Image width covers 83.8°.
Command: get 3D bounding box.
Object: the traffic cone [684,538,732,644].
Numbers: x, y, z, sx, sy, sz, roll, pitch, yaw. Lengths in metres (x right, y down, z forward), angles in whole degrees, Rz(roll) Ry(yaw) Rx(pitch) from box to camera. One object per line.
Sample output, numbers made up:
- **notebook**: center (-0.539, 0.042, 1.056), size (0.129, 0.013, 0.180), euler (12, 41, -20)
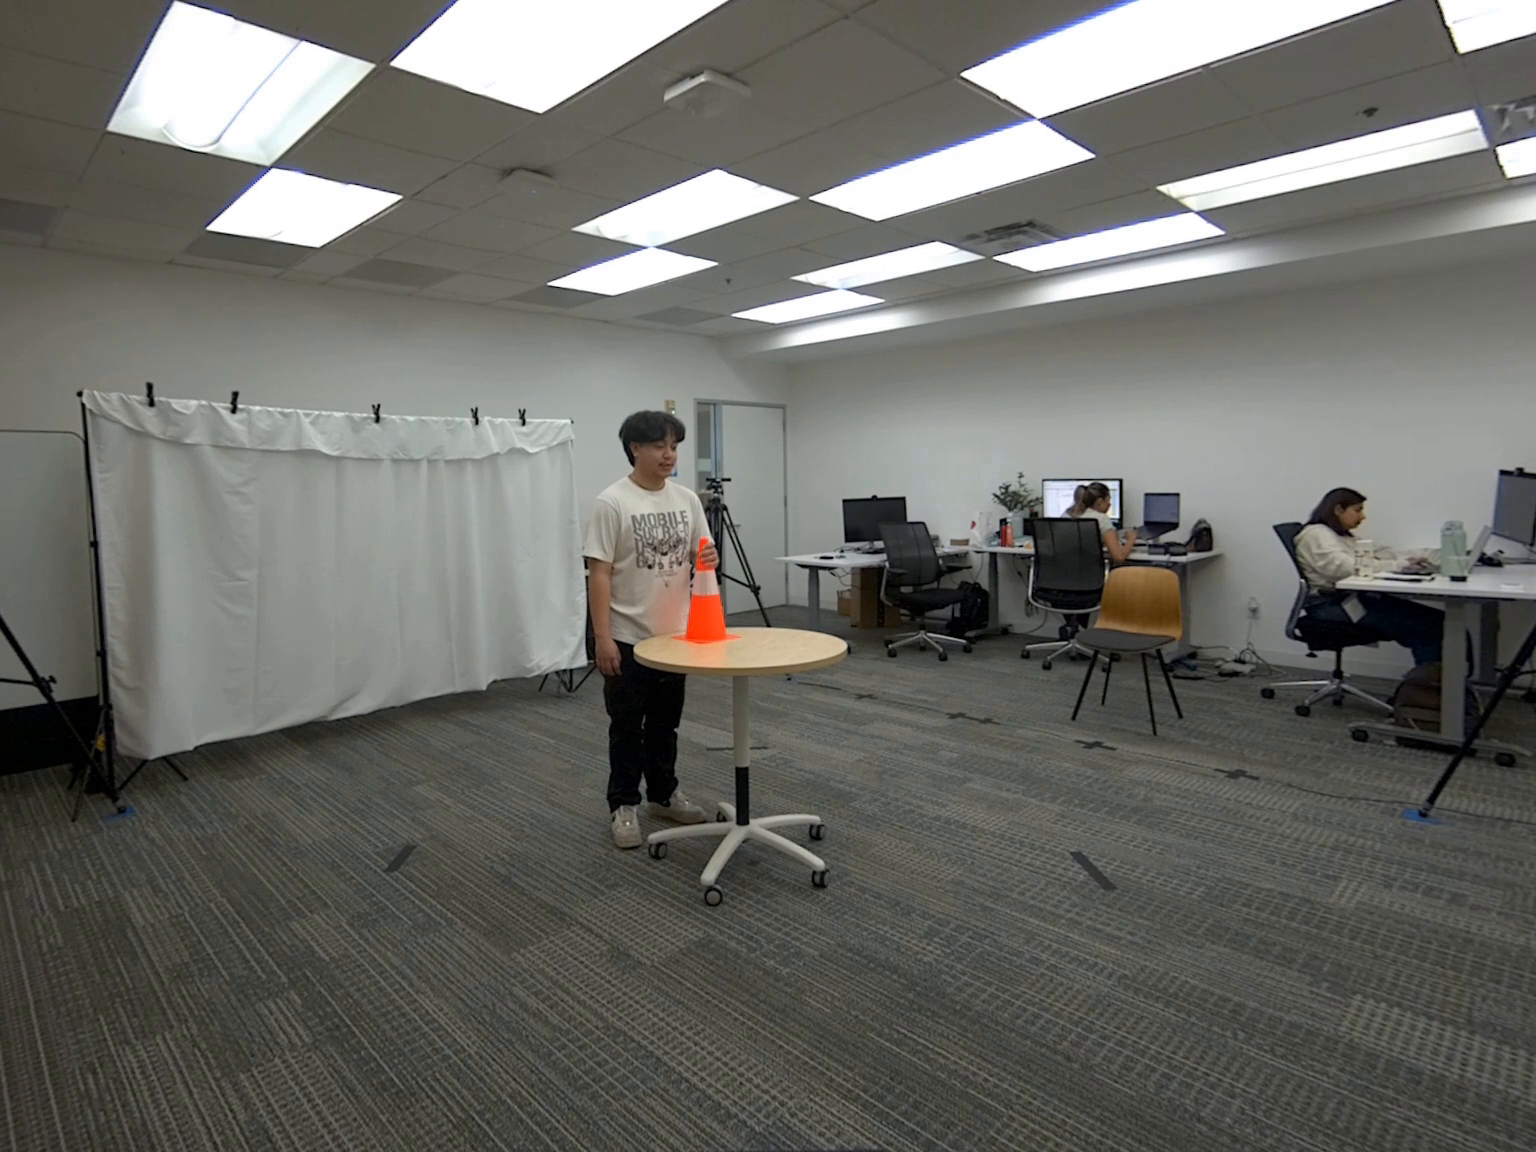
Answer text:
- **traffic cone**: center (-0.243, 0.049, 3.236), size (0.208, 0.383, 0.201), euler (-2, 2, 25)
